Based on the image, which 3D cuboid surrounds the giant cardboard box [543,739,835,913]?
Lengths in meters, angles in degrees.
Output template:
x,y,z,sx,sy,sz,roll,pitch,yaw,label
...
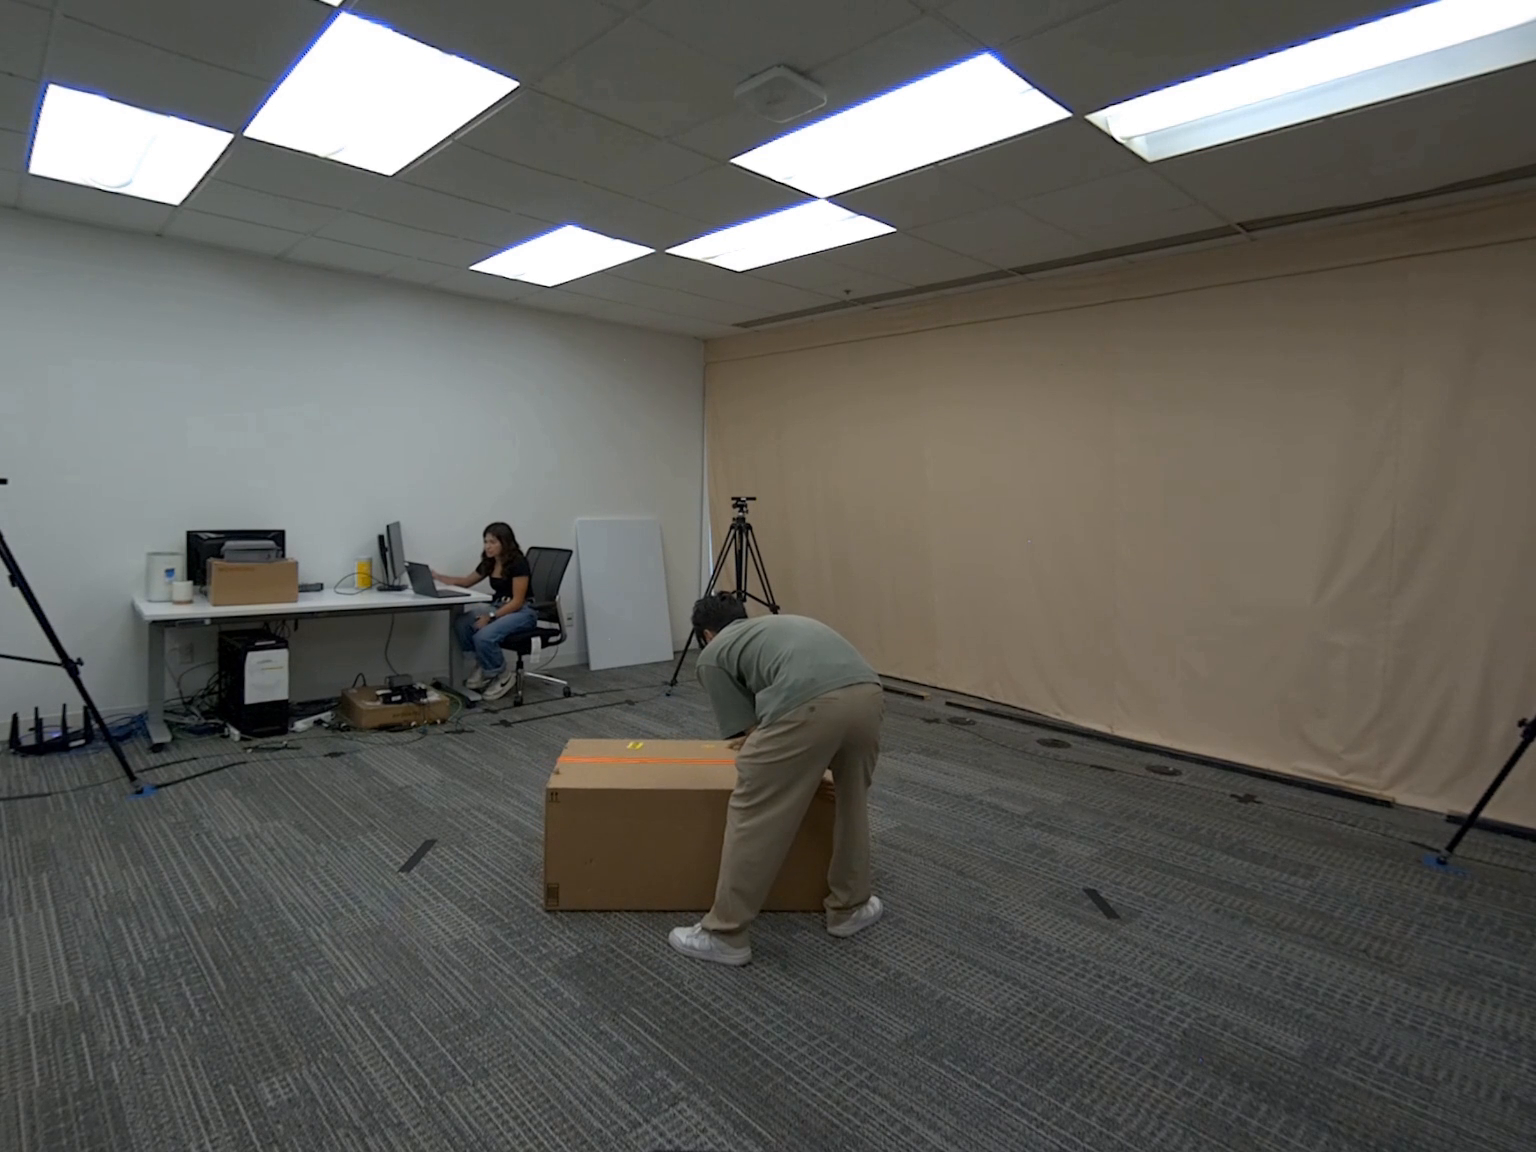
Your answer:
x,y,z,sx,sy,sz,roll,pitch,yaw,label
-0.271,0.886,3.102,1.024,0.425,0.580,2,5,-3,giant cardboard box
